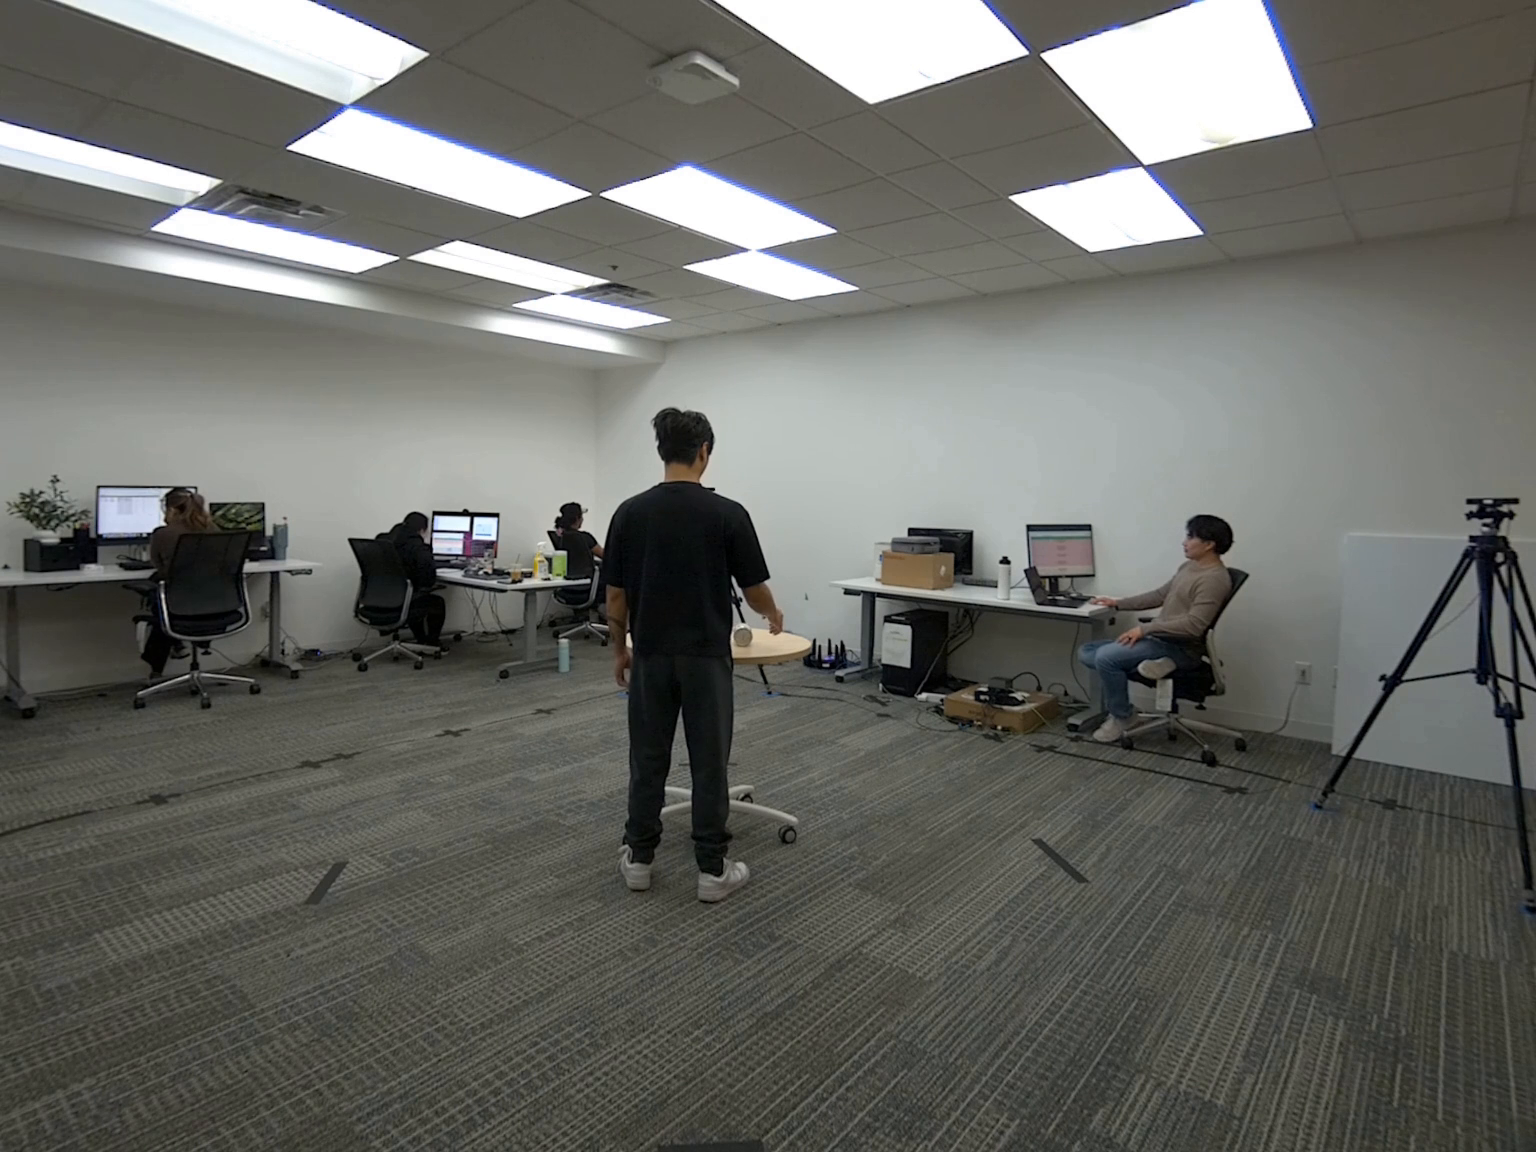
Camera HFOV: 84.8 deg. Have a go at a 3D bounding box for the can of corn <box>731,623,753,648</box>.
[{"bbox_3d":[-0.114,0.224,3.343,0.074,0.074,0.111,1,5,-2],"label":"can of corn"}]
